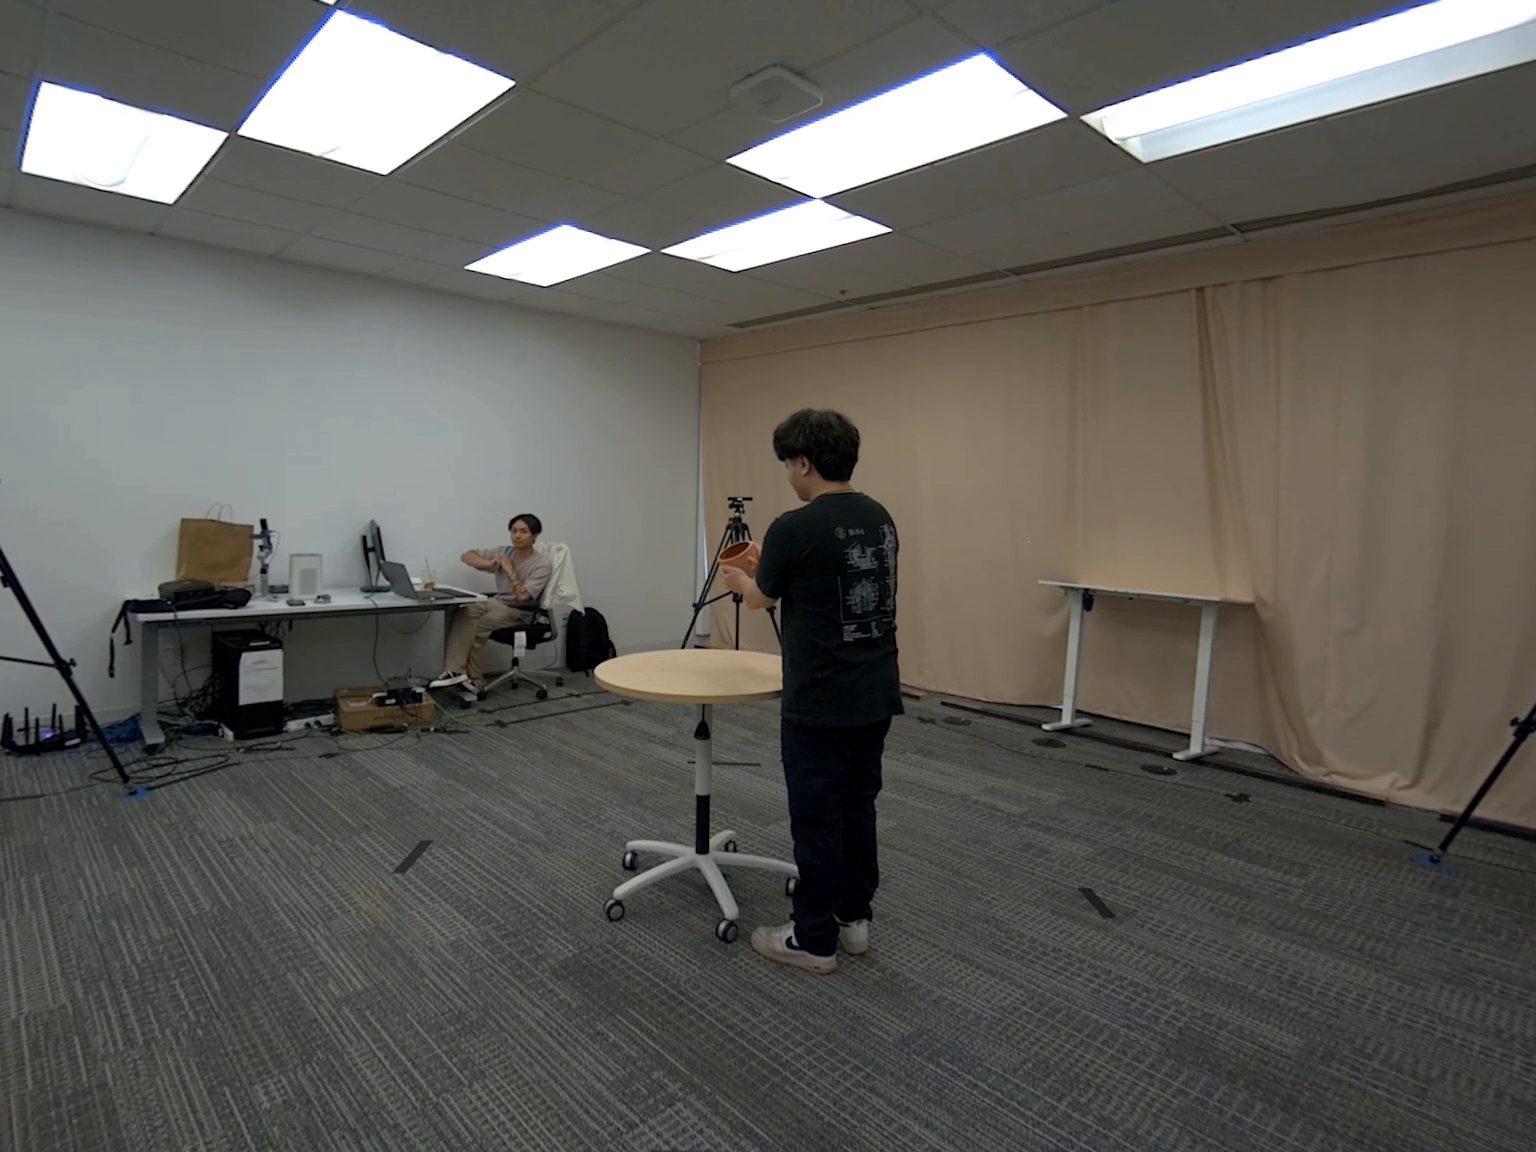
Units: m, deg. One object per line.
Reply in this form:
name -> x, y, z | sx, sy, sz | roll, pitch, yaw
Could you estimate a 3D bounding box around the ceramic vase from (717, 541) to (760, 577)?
ceramic vase -> -0.073, 0.003, 2.964 | 0.135, 0.216, 0.161 | -23, 19, 10
